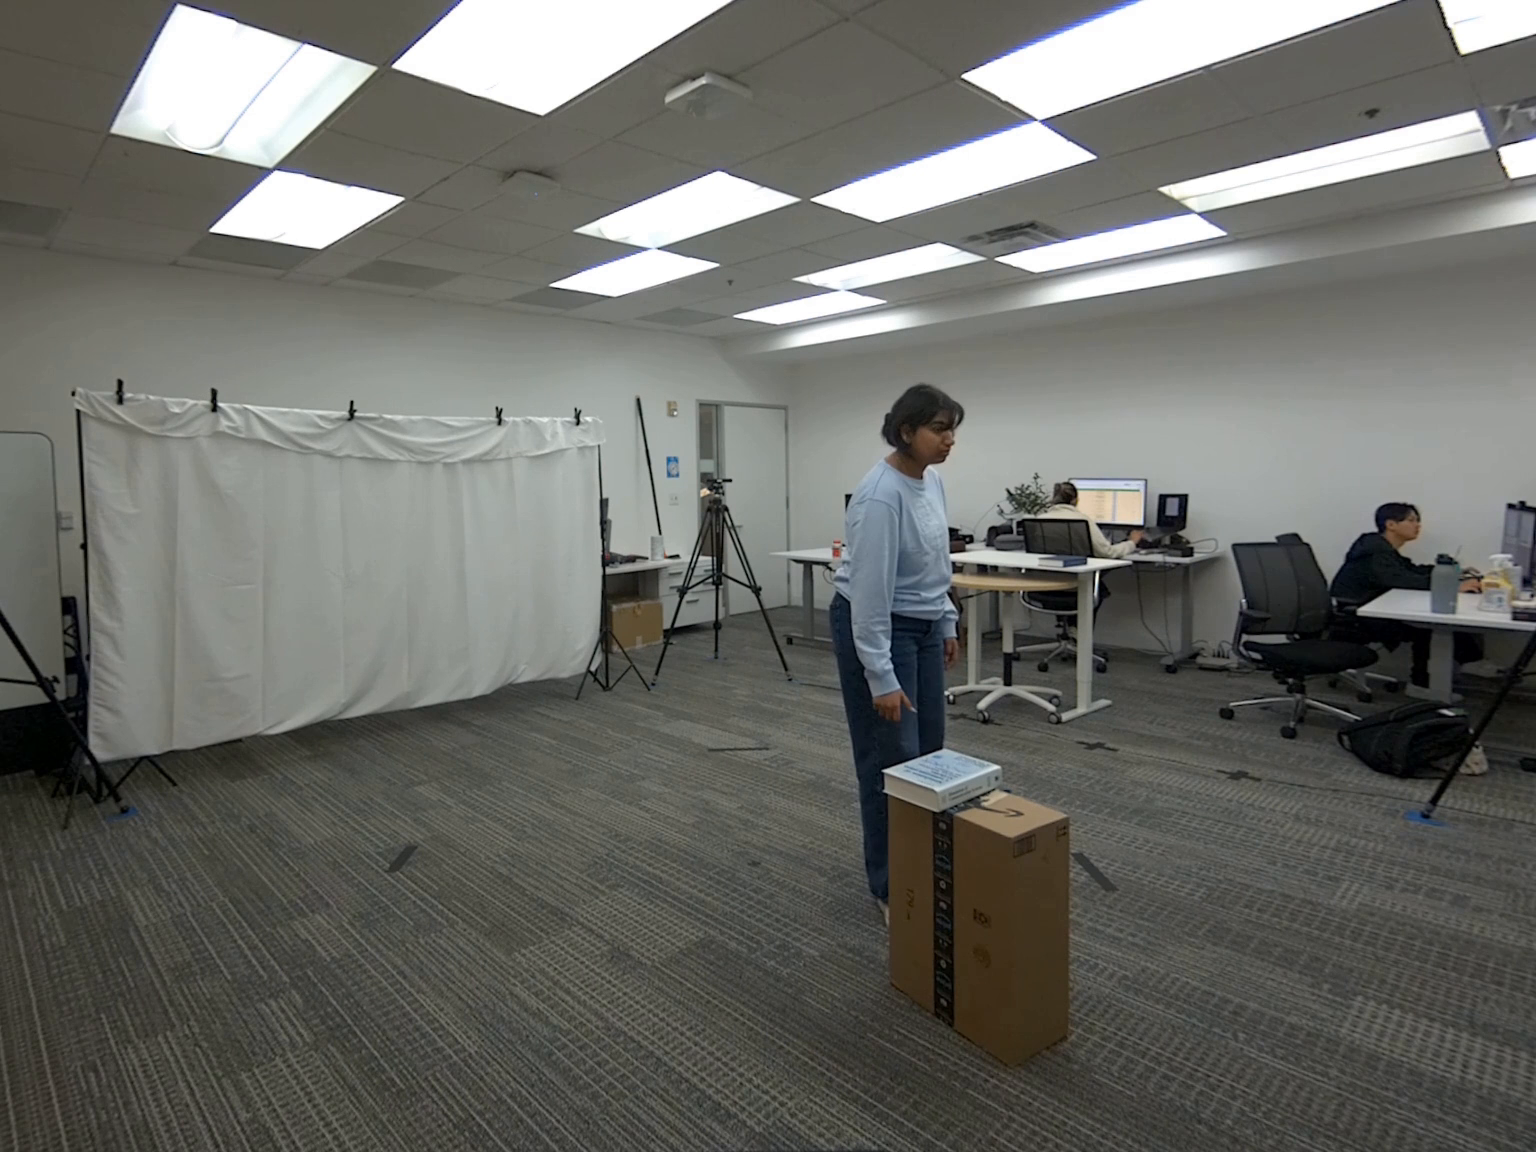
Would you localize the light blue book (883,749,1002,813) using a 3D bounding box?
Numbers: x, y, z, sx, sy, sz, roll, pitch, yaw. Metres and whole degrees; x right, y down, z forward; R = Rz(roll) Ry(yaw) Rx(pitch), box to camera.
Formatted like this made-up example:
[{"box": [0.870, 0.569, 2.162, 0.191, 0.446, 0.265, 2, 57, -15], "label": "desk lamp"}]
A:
[{"box": [0.454, 0.538, 2.271, 0.254, 0.059, 0.197, -8, 9, -38], "label": "light blue book"}]
